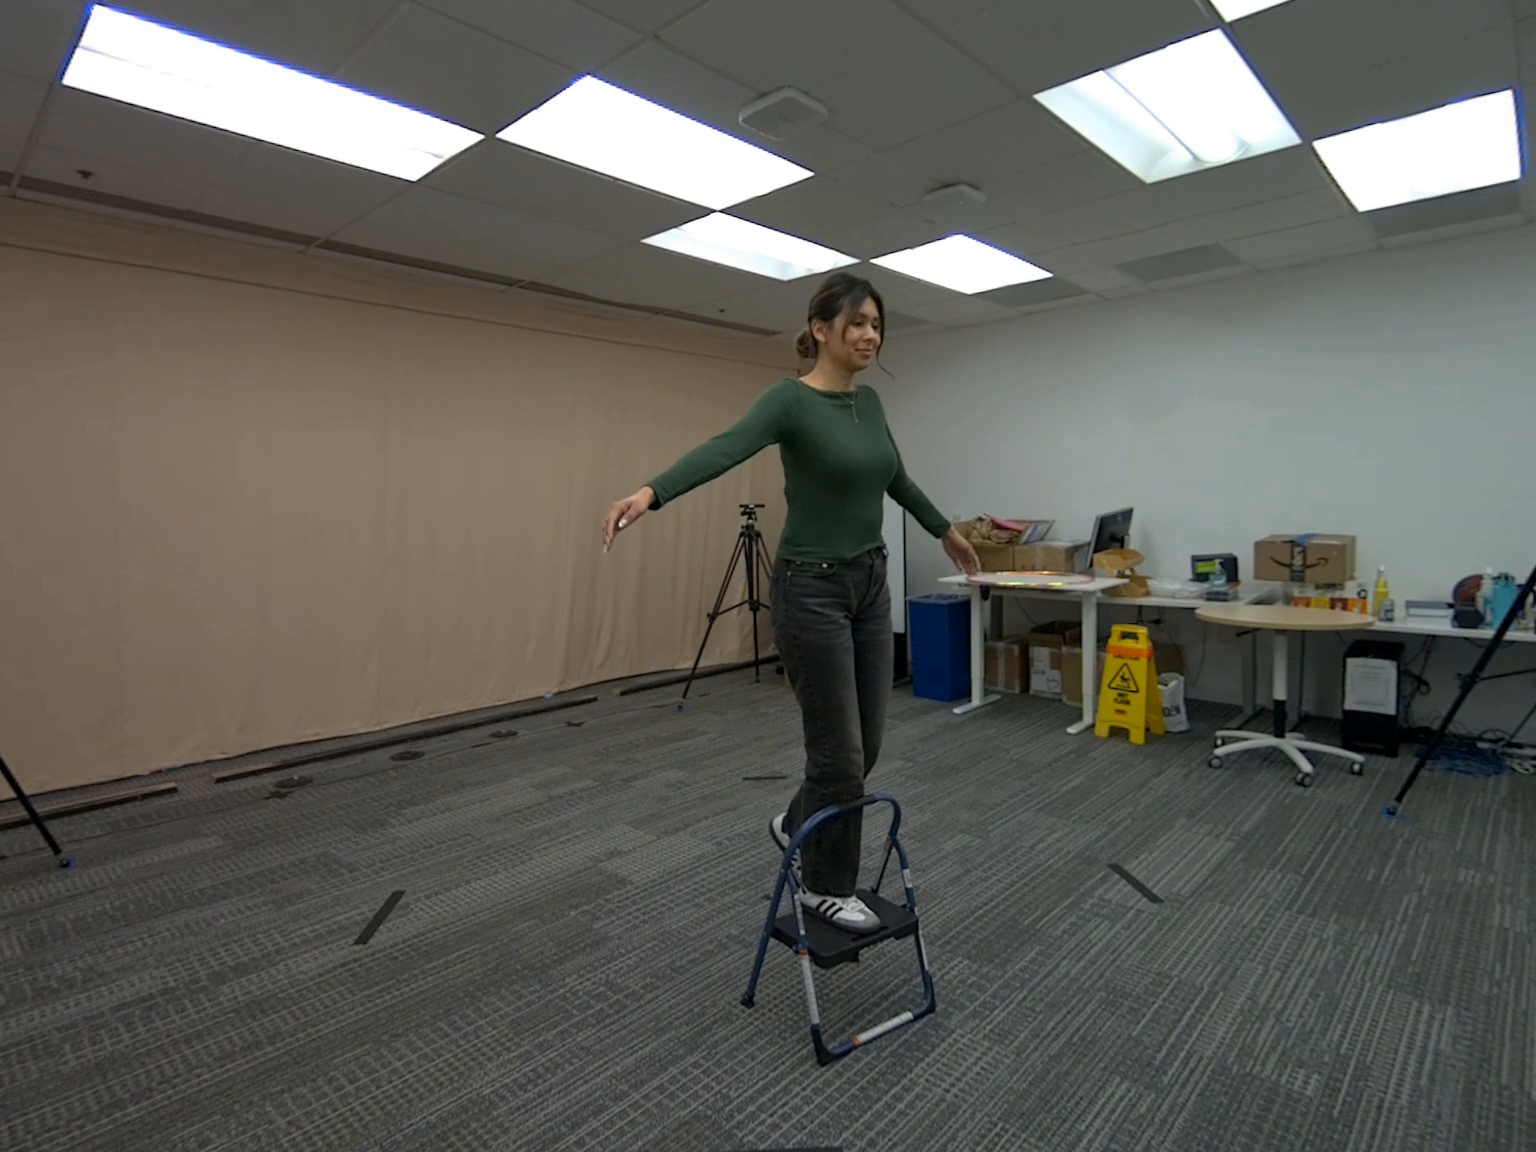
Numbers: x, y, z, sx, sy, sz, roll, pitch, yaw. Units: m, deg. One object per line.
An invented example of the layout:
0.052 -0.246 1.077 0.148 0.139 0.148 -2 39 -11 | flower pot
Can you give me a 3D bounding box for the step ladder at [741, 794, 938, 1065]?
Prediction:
0.196 0.891 2.316 0.418 0.605 0.360 -4 4 -36 | step ladder
